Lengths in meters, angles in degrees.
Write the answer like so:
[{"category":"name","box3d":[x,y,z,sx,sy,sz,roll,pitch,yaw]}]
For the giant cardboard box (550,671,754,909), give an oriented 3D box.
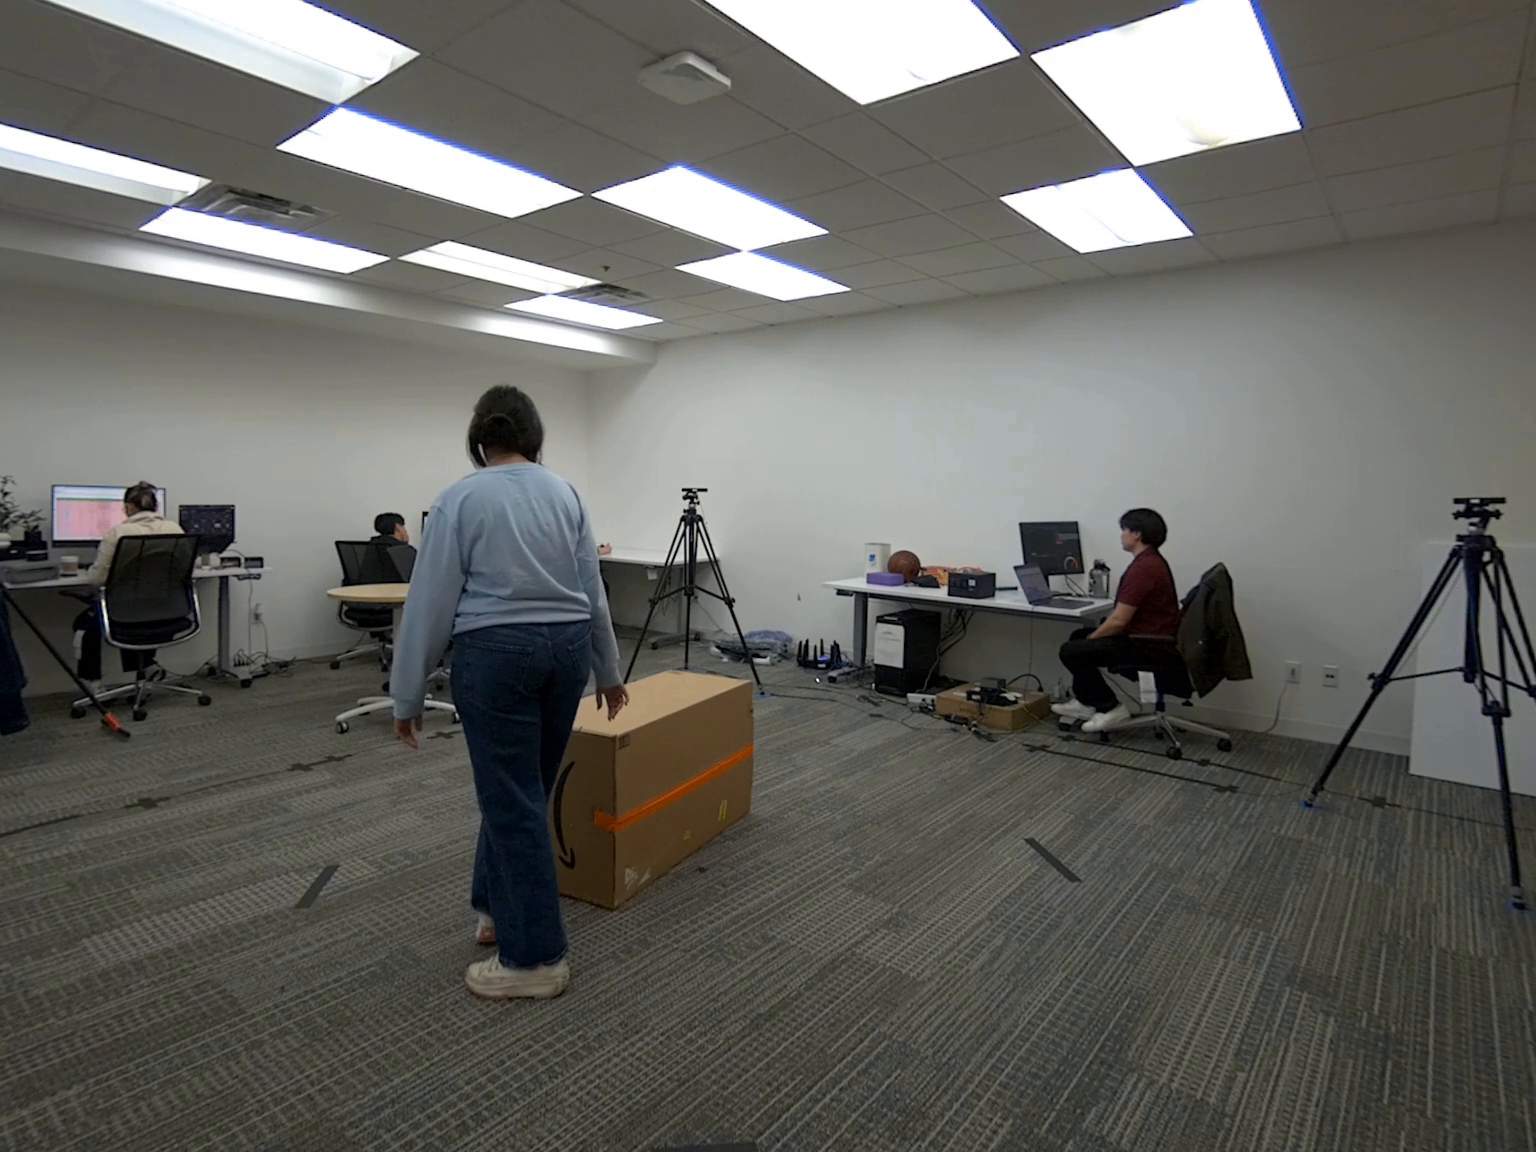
[{"category":"giant cardboard box","box3d":[-0.482,0.759,3.317,0.459,0.582,1.003,2,5,27]}]
